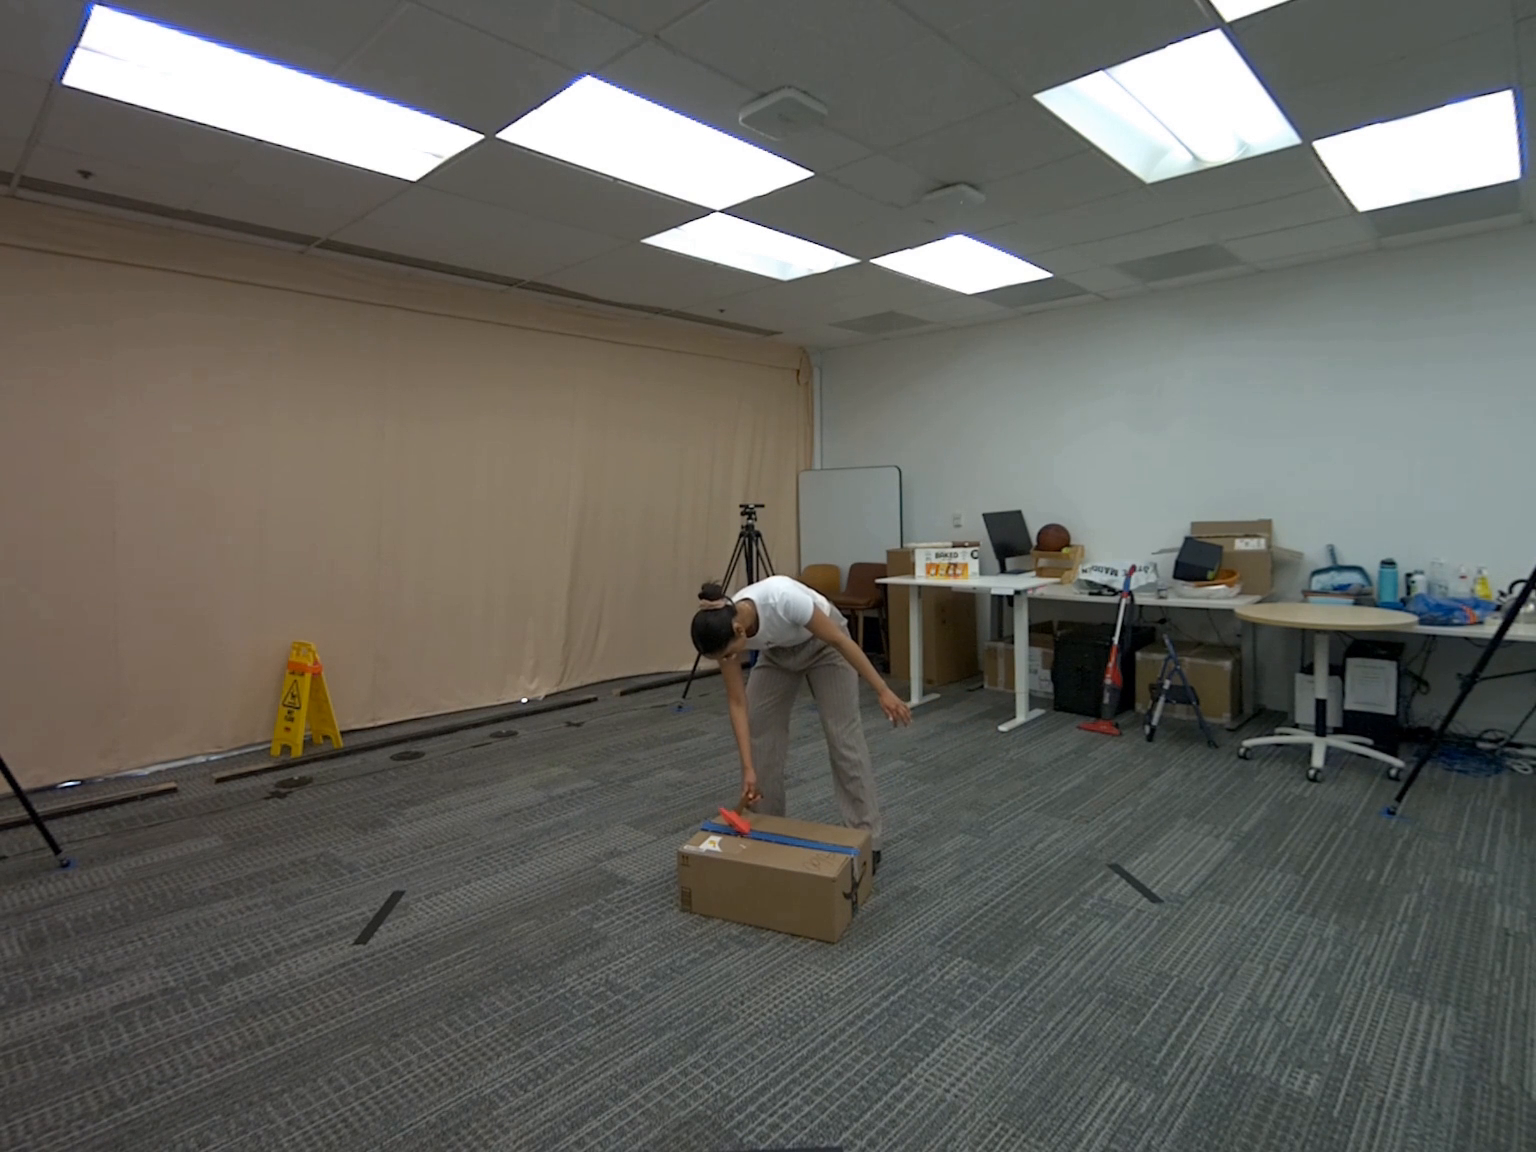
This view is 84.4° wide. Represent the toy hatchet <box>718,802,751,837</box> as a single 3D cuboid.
[{"bbox_3d":[-0.058,0.868,3.083,0.134,0.030,0.262,46,24,22],"label":"toy hatchet"}]
